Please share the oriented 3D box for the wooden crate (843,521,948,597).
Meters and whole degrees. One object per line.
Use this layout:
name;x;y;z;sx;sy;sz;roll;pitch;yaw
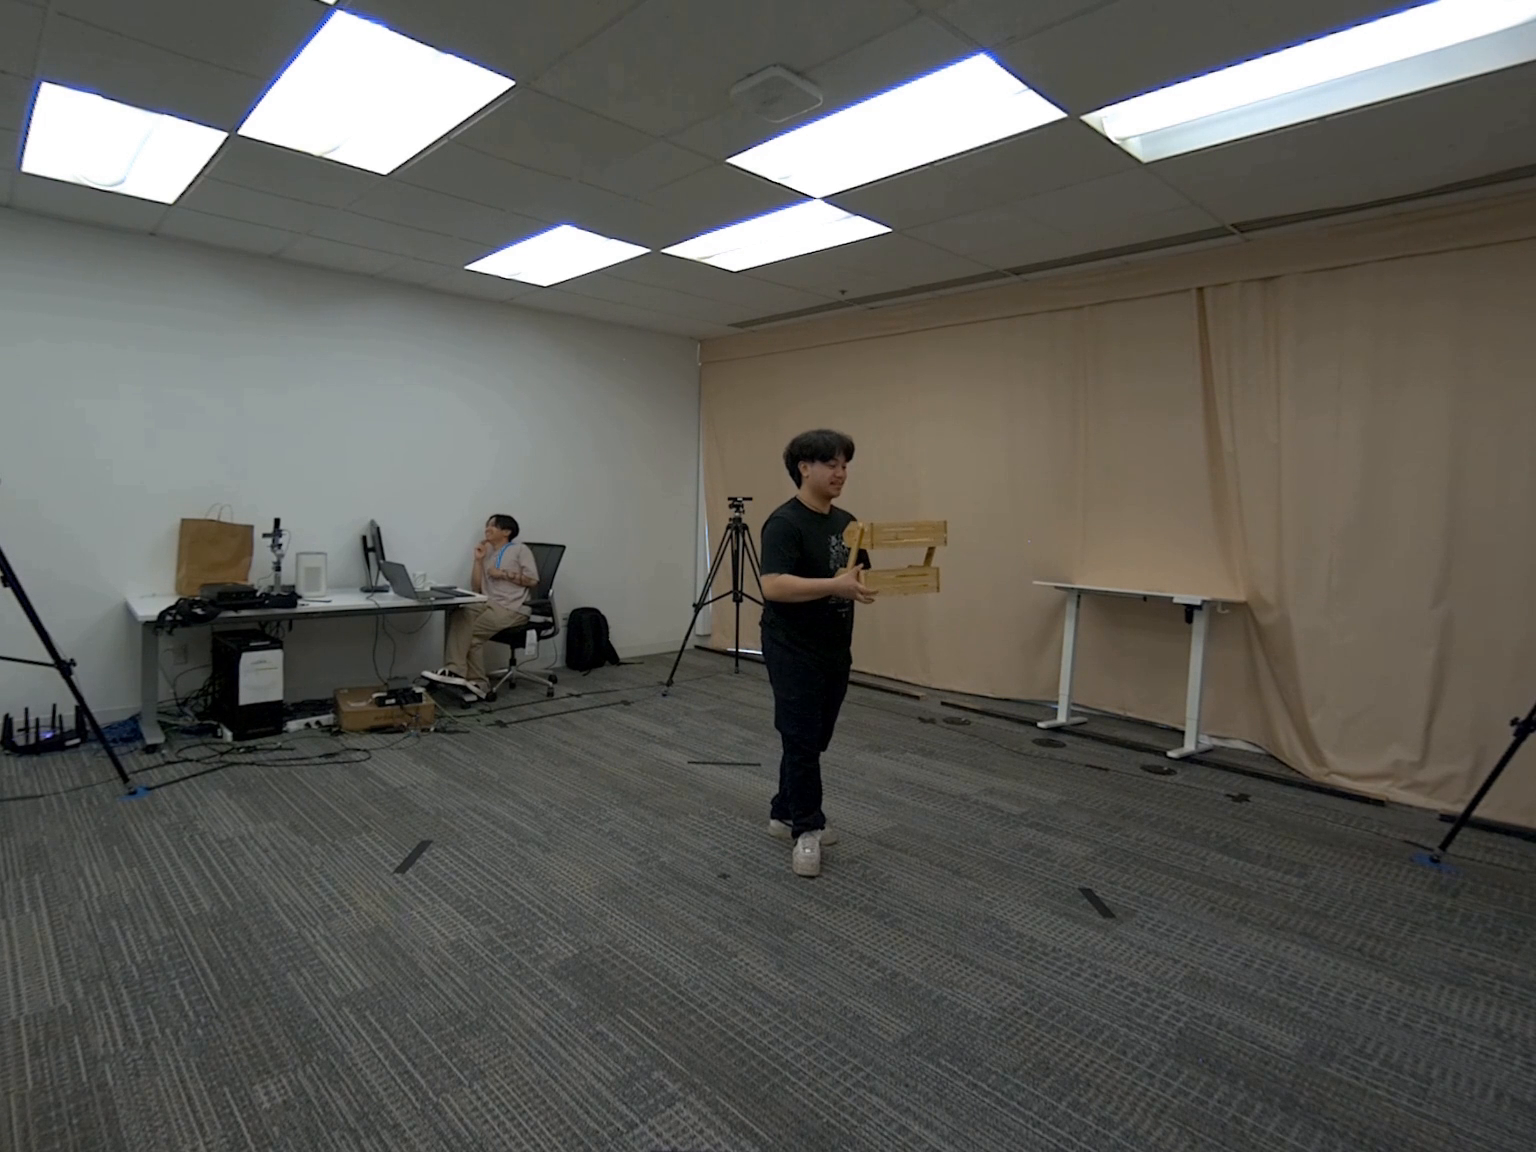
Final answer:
wooden crate;0.426;-0.076;3.045;0.320;0.273;0.306;-3;3;-18
